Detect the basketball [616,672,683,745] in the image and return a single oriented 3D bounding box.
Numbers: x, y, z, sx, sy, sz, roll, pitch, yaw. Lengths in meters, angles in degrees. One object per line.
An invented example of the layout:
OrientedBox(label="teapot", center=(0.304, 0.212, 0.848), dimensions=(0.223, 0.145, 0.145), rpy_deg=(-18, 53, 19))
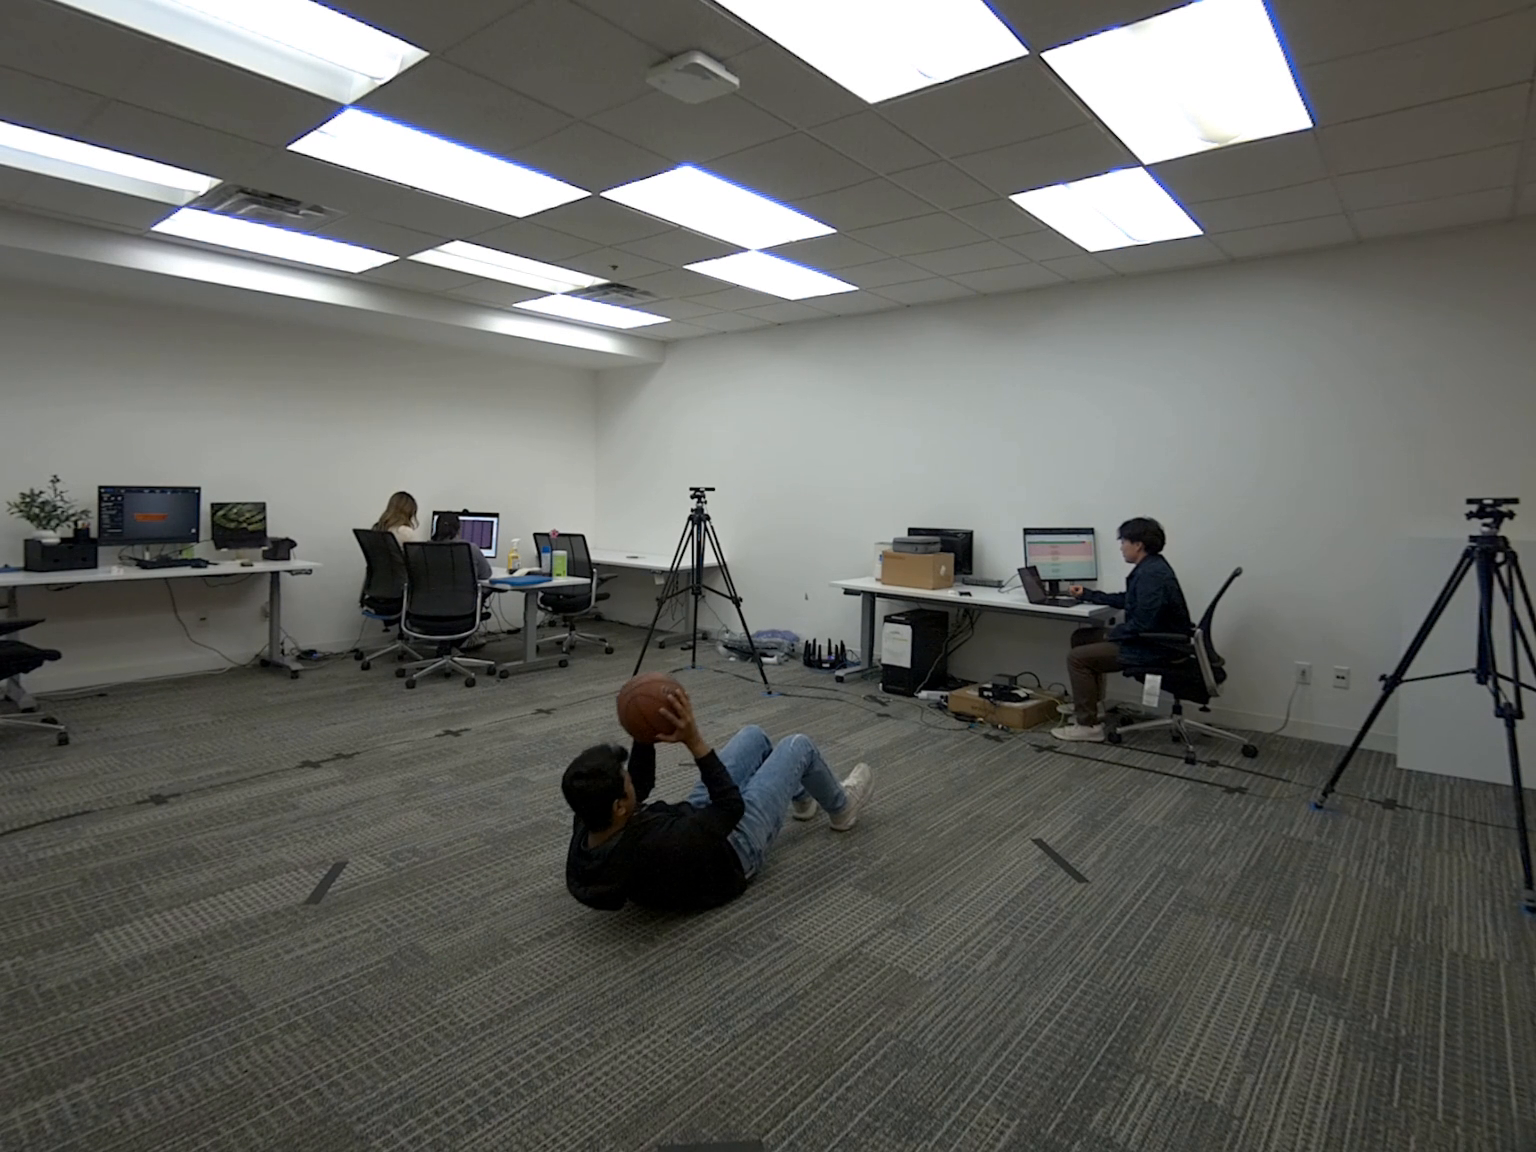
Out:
OrientedBox(label="basketball", center=(-0.404, 0.451, 2.810), dimensions=(0.235, 0.235, 0.237), rpy_deg=(1, 4, -2))
